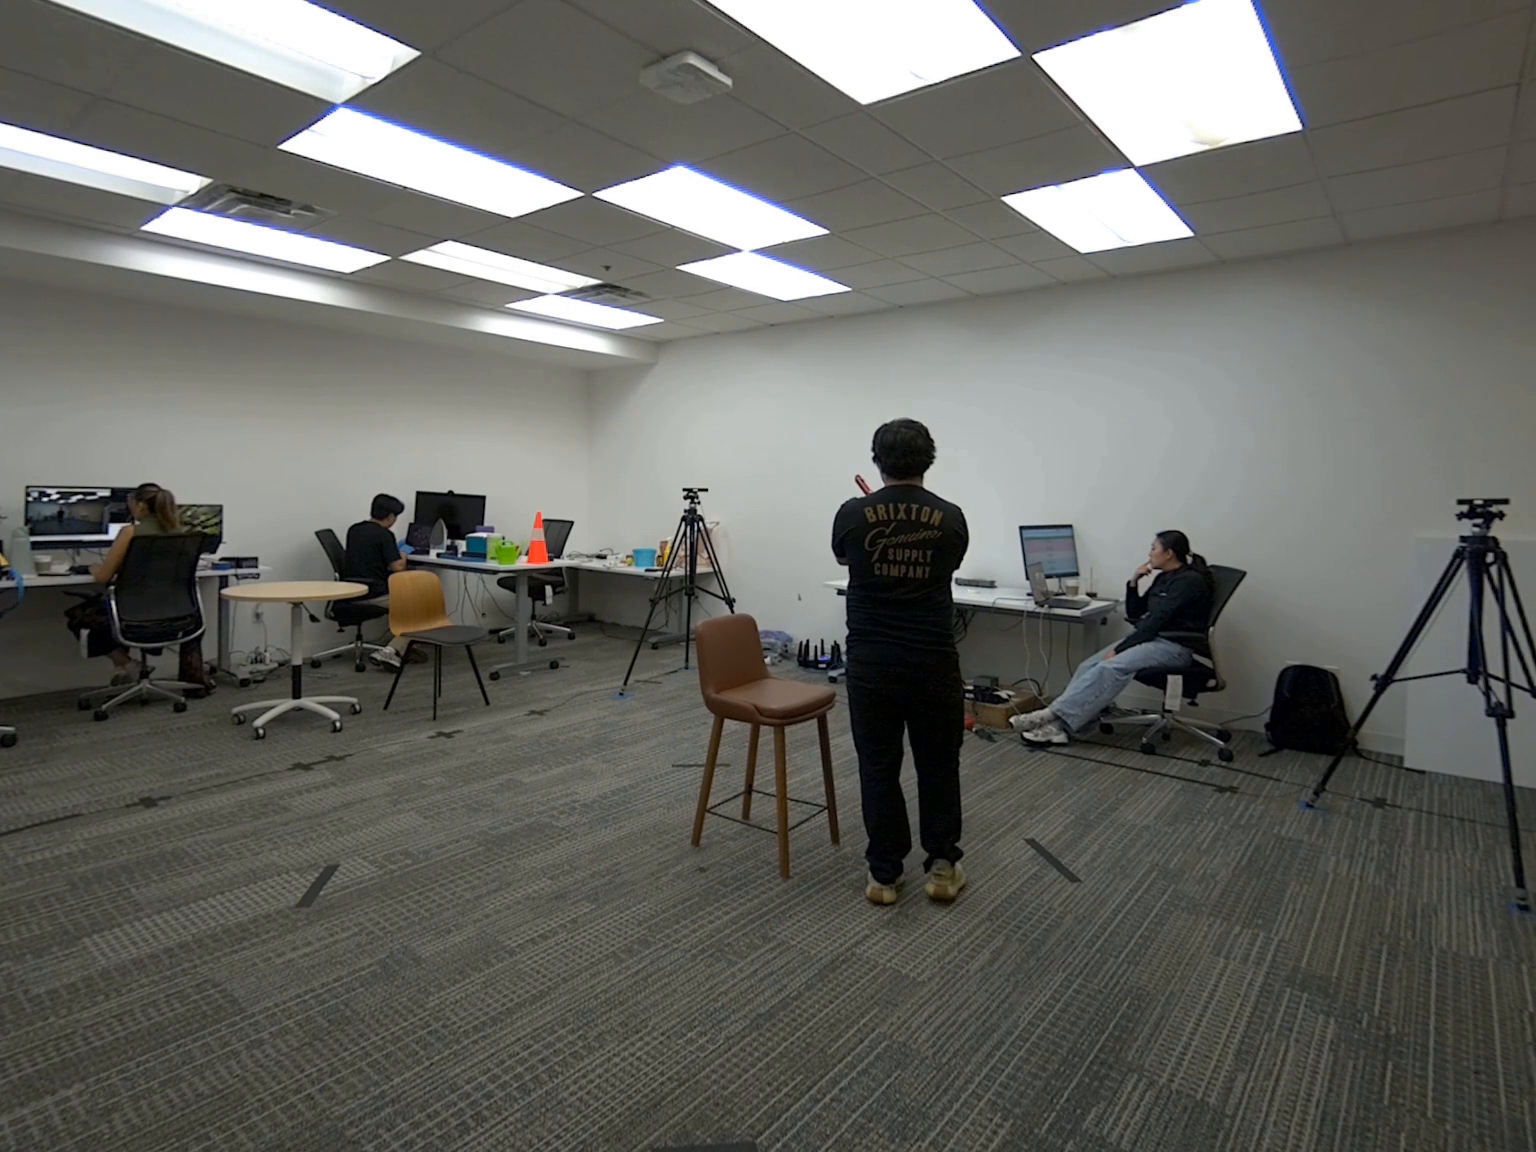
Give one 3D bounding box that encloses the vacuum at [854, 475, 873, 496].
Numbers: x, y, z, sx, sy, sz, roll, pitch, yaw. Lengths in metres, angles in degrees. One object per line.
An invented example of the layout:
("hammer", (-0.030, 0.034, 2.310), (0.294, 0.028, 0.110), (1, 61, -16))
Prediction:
("vacuum", (0.519, 0.089, 3.437), (0.248, 1.056, 0.145), (-15, -5, -22))
